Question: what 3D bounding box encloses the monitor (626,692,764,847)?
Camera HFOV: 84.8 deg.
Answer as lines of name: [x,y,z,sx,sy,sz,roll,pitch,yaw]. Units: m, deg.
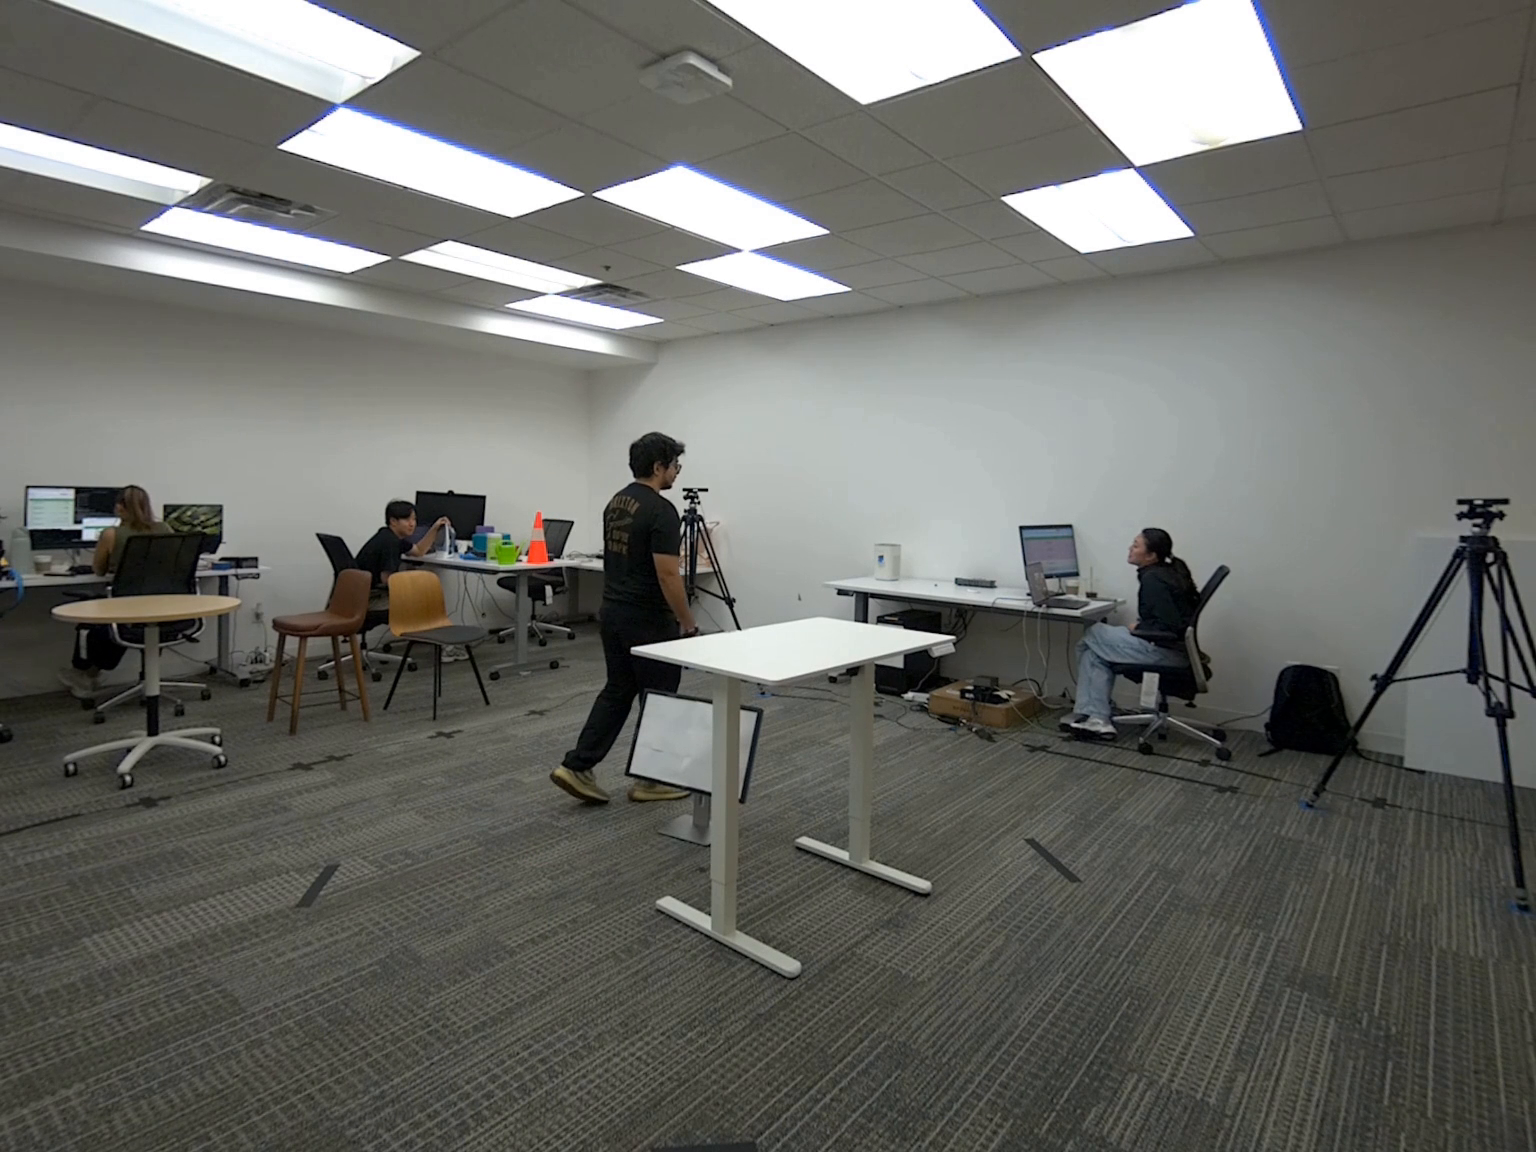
monitor: [-0.288,0.769,3.465,0.582,0.557,0.203,3,-7,29]
